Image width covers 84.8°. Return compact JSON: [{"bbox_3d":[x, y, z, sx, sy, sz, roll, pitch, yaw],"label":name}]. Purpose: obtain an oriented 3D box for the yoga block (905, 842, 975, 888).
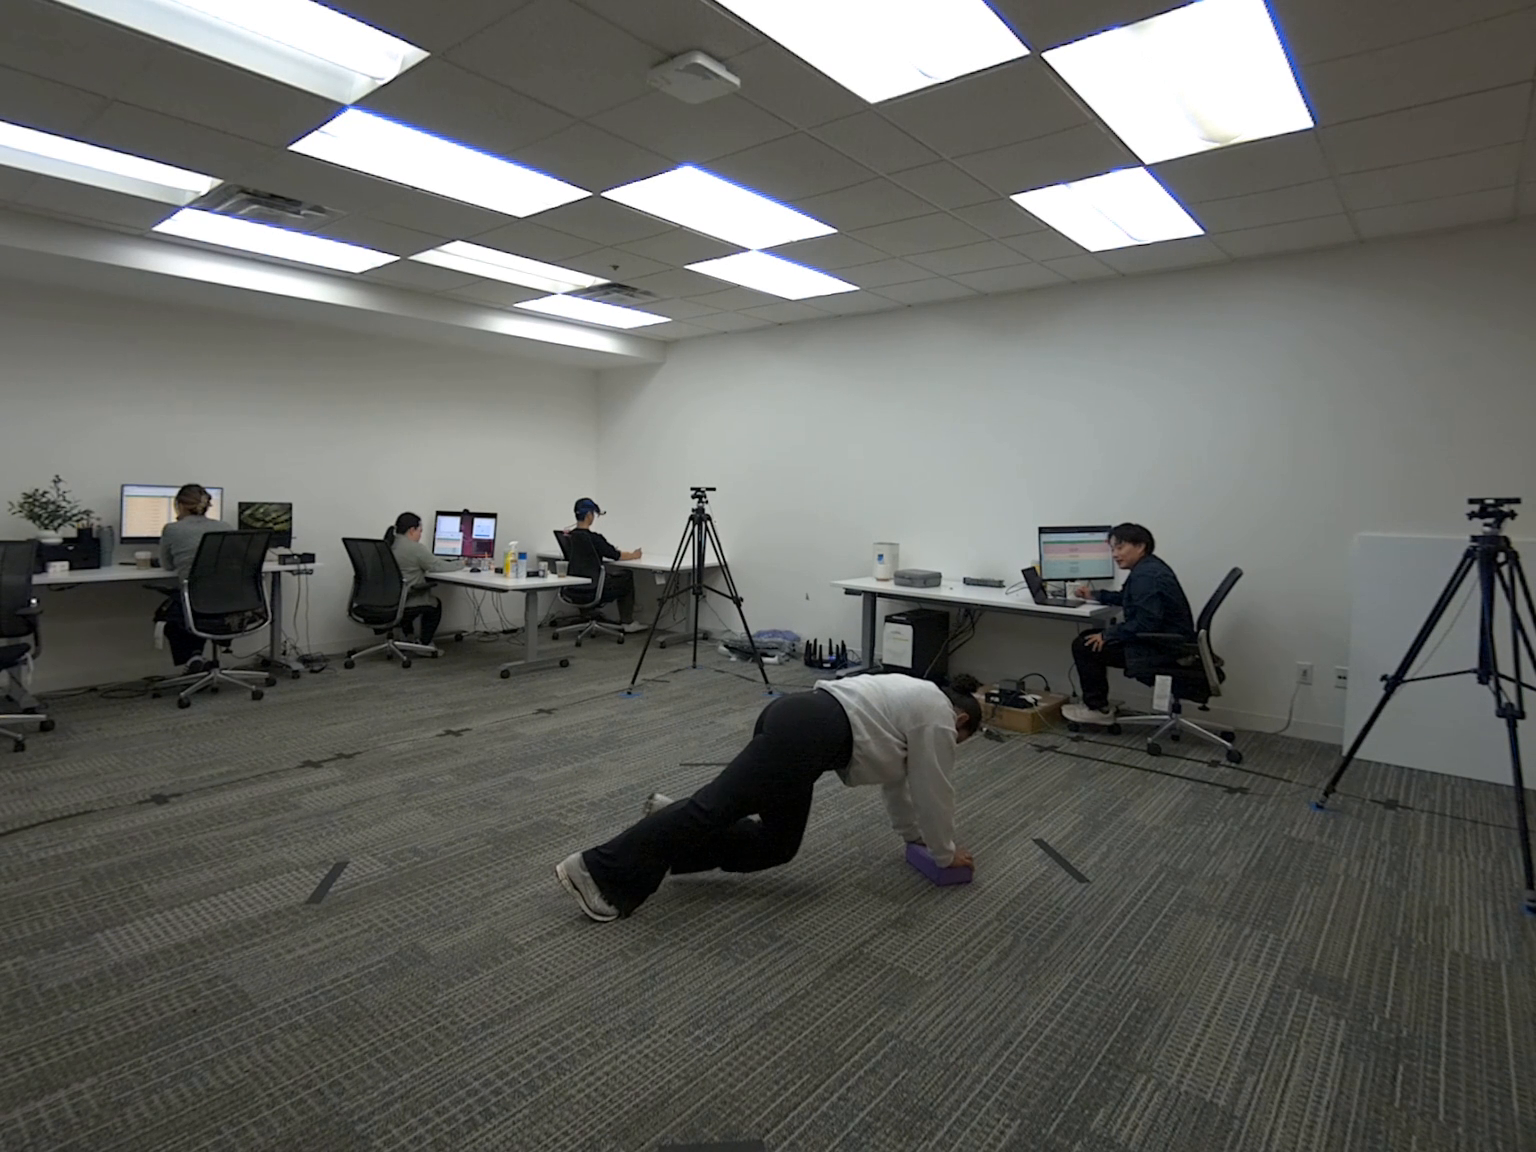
[{"bbox_3d":[0.624,1.055,3.137,0.146,0.076,0.234,0,4,-20],"label":"yoga block"}]
